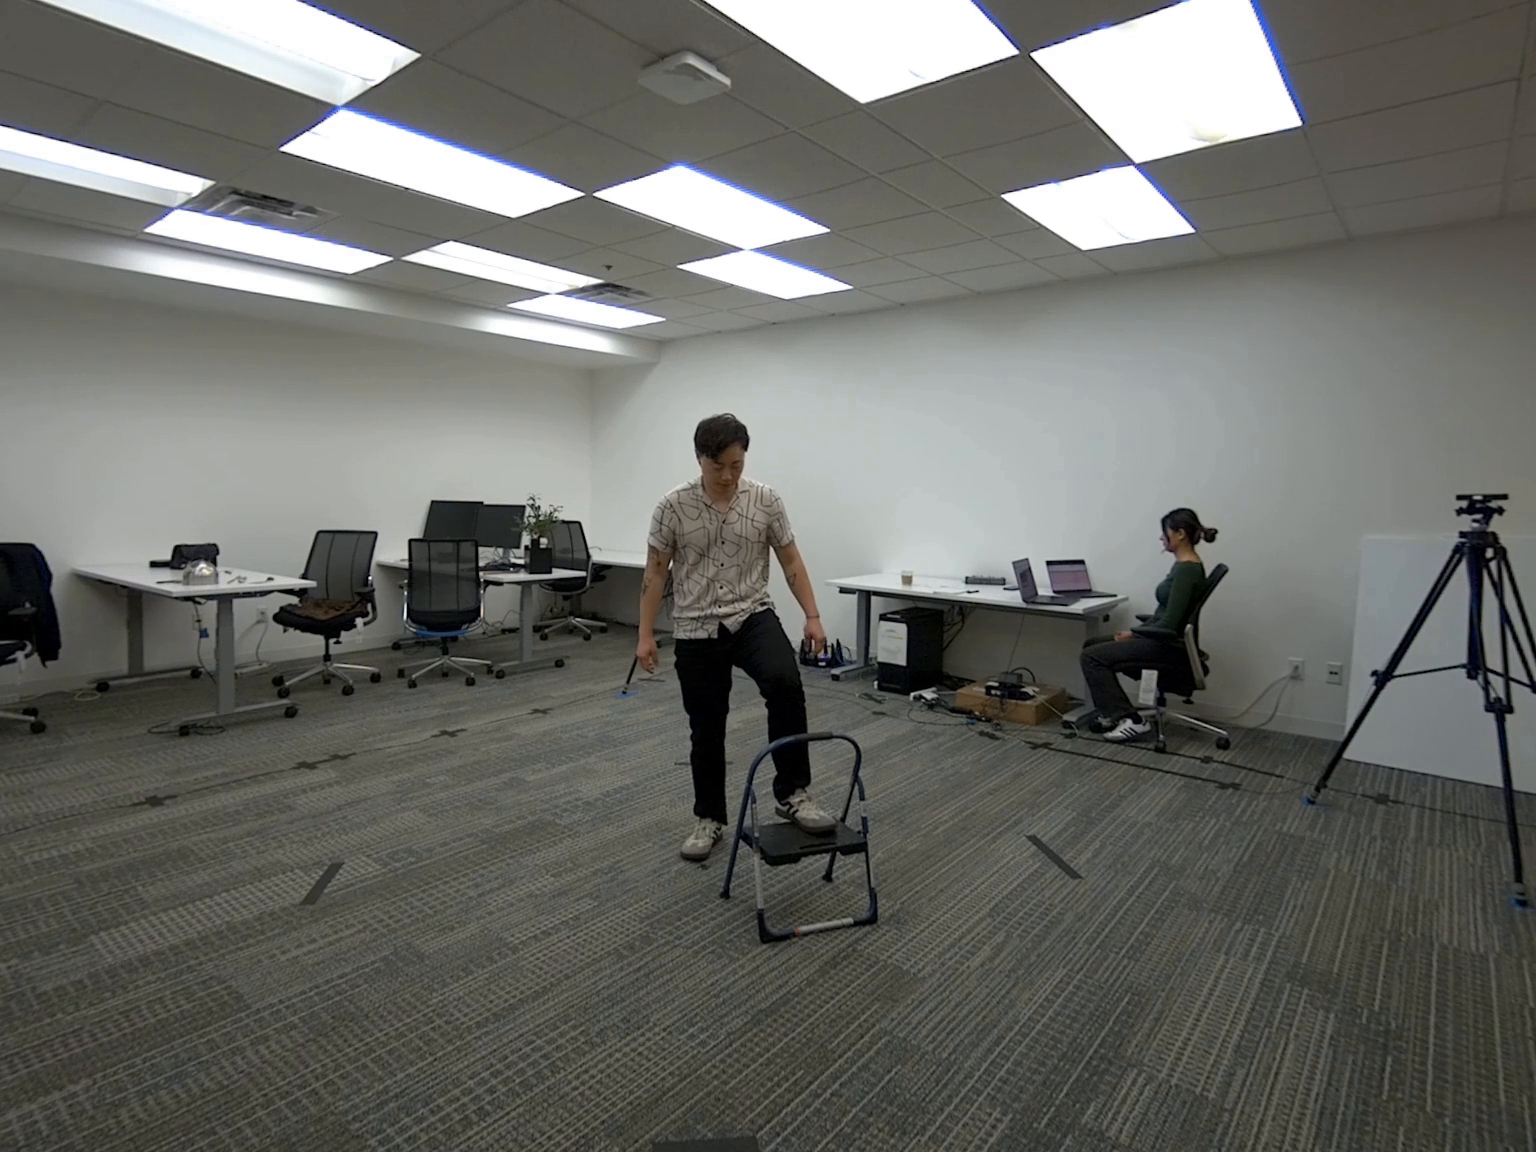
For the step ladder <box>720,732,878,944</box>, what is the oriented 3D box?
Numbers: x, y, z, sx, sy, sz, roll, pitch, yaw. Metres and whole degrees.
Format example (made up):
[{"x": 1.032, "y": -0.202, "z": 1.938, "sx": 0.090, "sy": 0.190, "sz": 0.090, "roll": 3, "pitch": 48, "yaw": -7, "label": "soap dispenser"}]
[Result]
[{"x": 0.098, "y": 0.797, "z": 2.806, "sx": 0.421, "sy": 0.604, "sz": 0.358, "roll": 0, "pitch": 4, "yaw": -24, "label": "step ladder"}]
